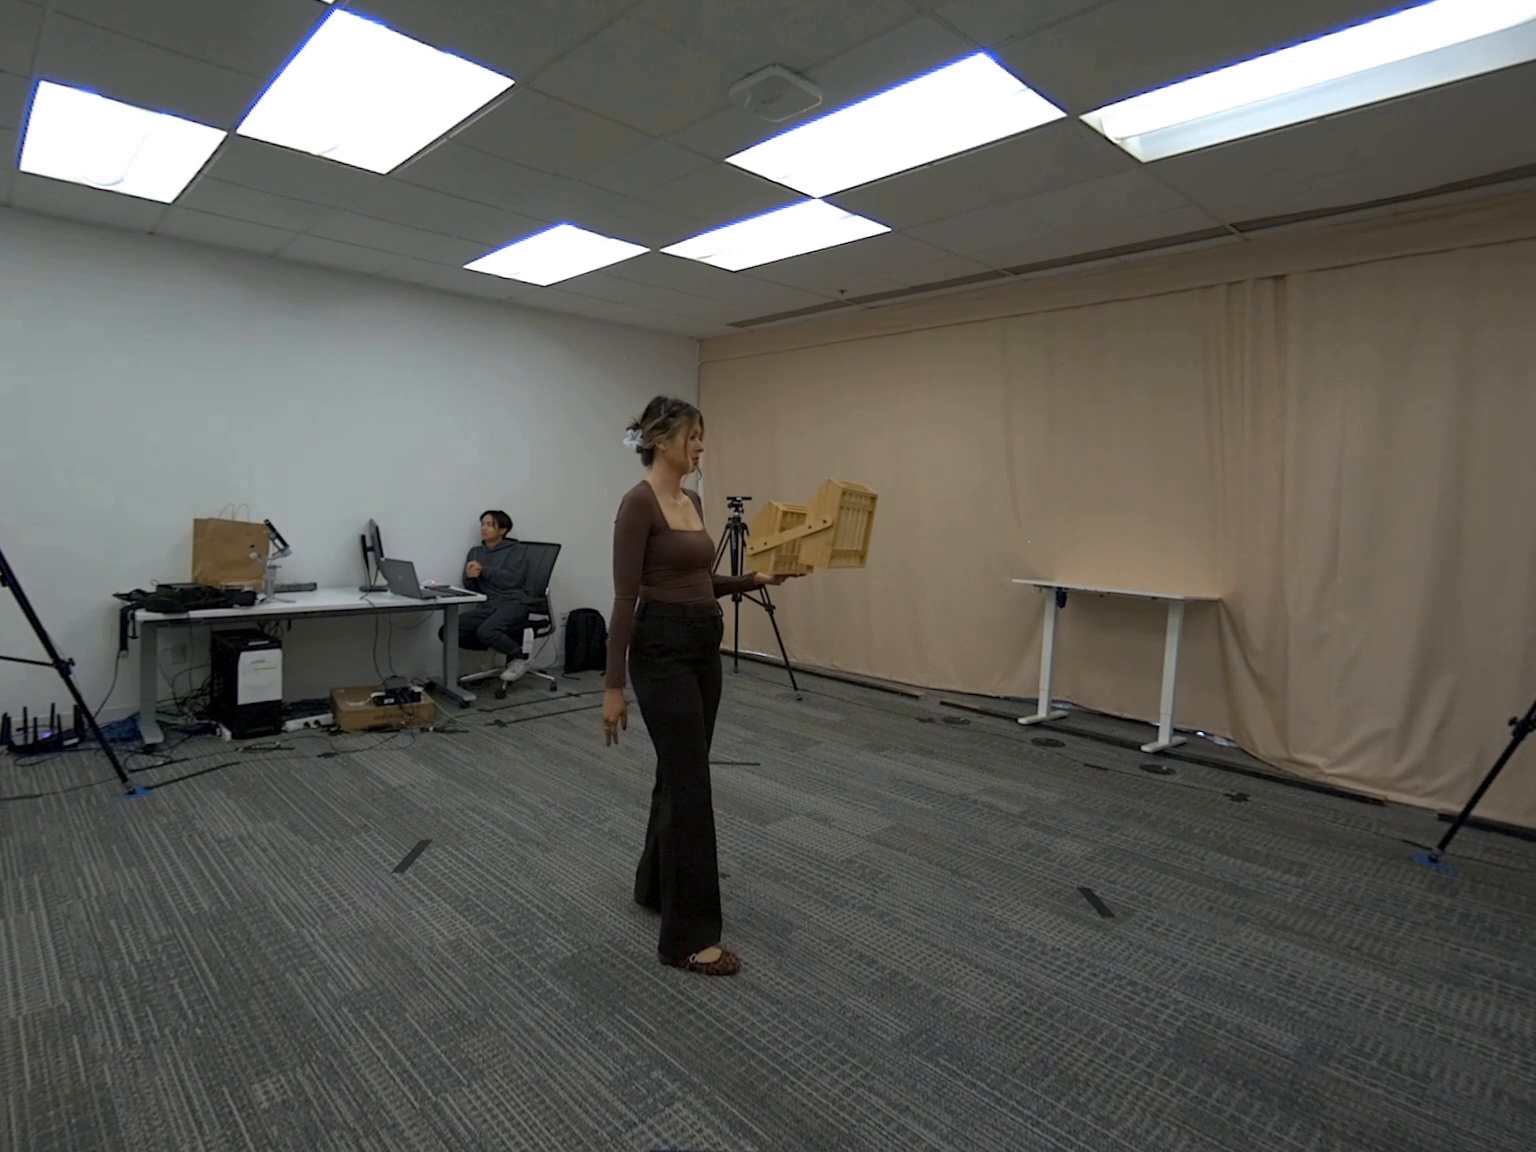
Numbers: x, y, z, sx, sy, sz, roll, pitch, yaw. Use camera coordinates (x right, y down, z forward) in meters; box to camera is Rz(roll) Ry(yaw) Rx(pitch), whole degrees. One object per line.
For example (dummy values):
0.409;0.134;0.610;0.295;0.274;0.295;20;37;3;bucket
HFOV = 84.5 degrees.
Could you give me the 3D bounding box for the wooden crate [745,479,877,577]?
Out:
0.123;-0.147;2.509;0.279;0.301;0.318;11;5;27;wooden crate
